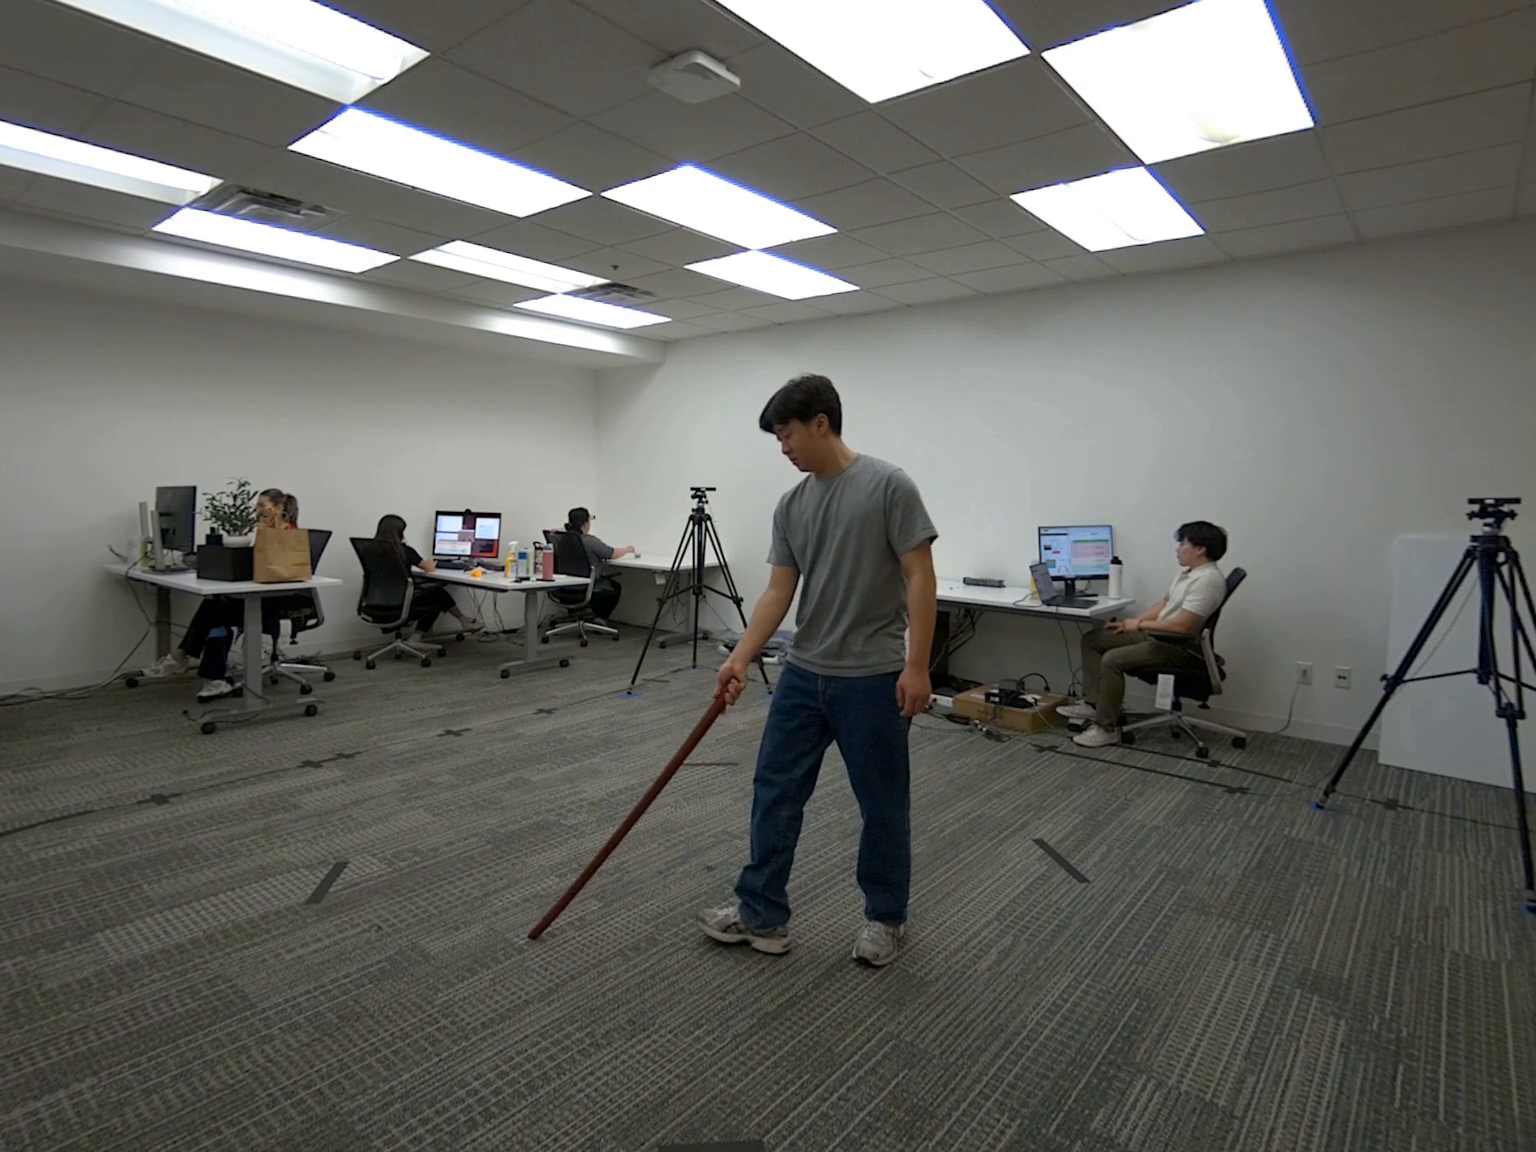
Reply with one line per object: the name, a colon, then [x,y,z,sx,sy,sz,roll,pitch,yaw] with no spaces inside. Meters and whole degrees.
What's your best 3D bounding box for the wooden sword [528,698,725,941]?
wooden sword: [-0.421,0.724,2.545,0.025,1.024,0.050,40,5,20]
